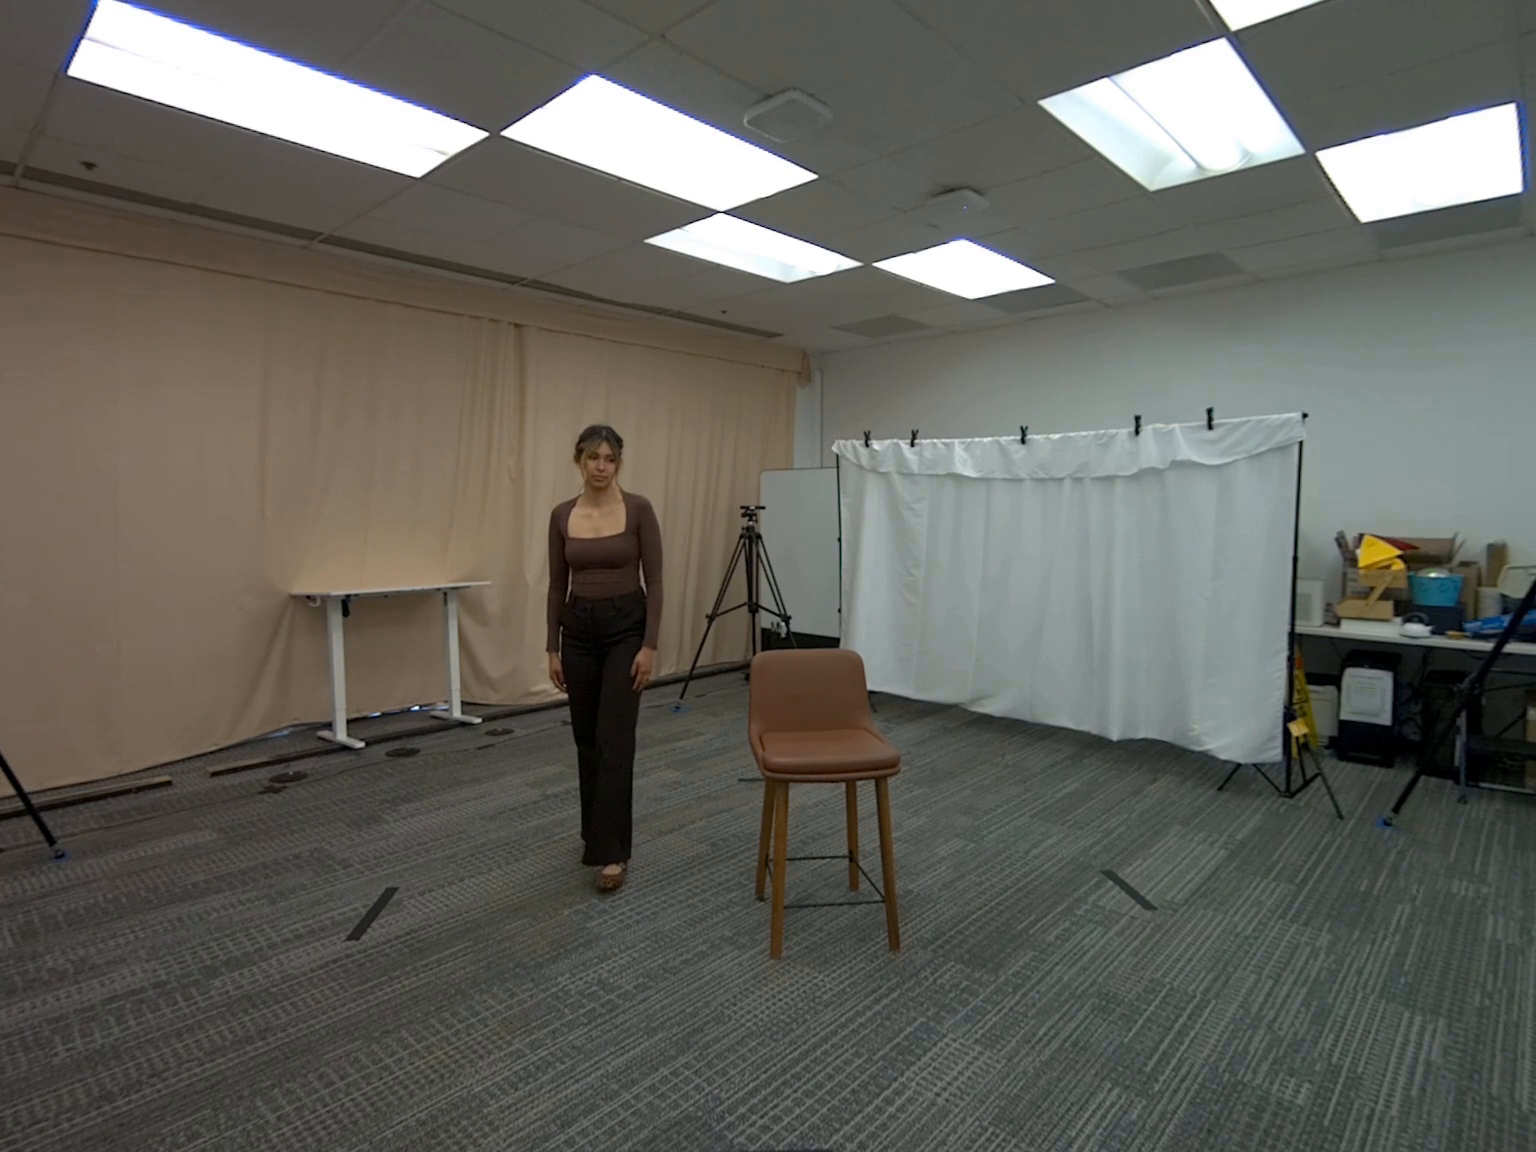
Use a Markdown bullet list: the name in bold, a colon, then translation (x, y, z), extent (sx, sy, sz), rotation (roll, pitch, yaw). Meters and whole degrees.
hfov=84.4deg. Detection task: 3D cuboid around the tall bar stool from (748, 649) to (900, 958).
- **tall bar stool**: translation (0.180, 0.725, 2.810), extent (0.453, 0.889, 0.472), rotation (-1, 2, -8)
